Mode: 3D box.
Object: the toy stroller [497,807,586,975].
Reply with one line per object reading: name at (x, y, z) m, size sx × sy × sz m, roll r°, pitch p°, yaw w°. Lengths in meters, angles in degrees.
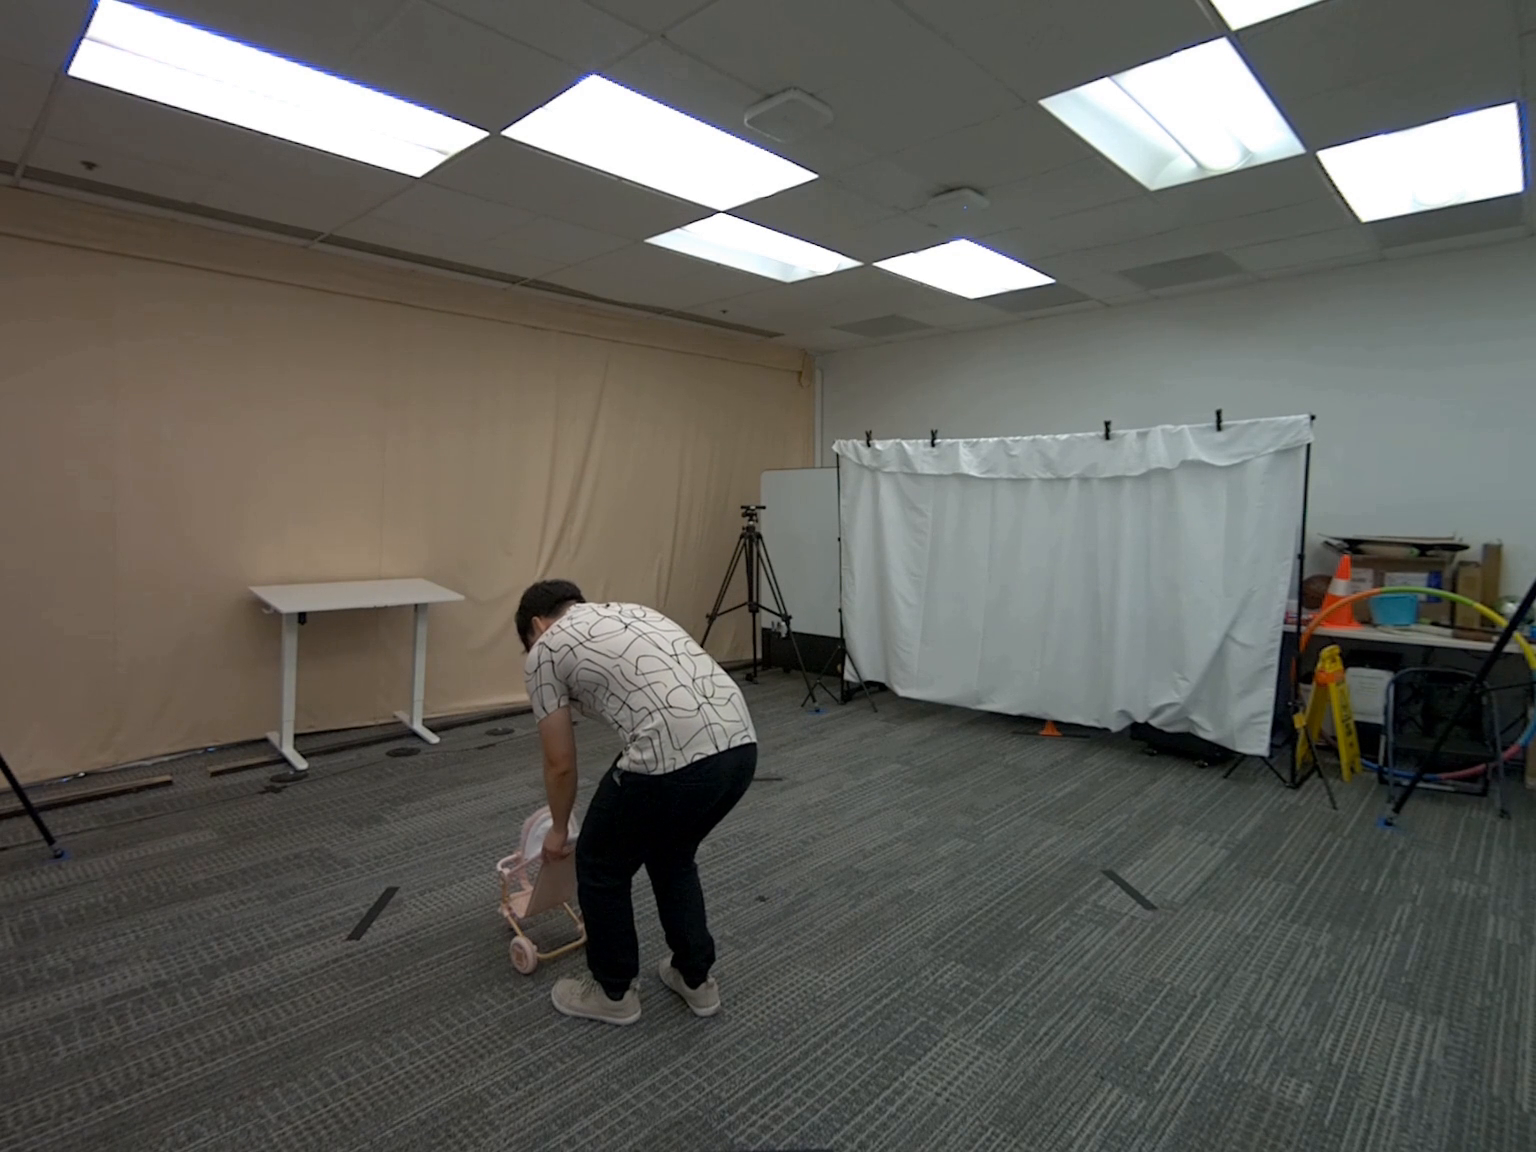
toy stroller at (-0.701, 0.952, 2.645) m, size 0.273 × 0.532 × 0.354 m, roll -3°, pitch 20°, yaw -44°
